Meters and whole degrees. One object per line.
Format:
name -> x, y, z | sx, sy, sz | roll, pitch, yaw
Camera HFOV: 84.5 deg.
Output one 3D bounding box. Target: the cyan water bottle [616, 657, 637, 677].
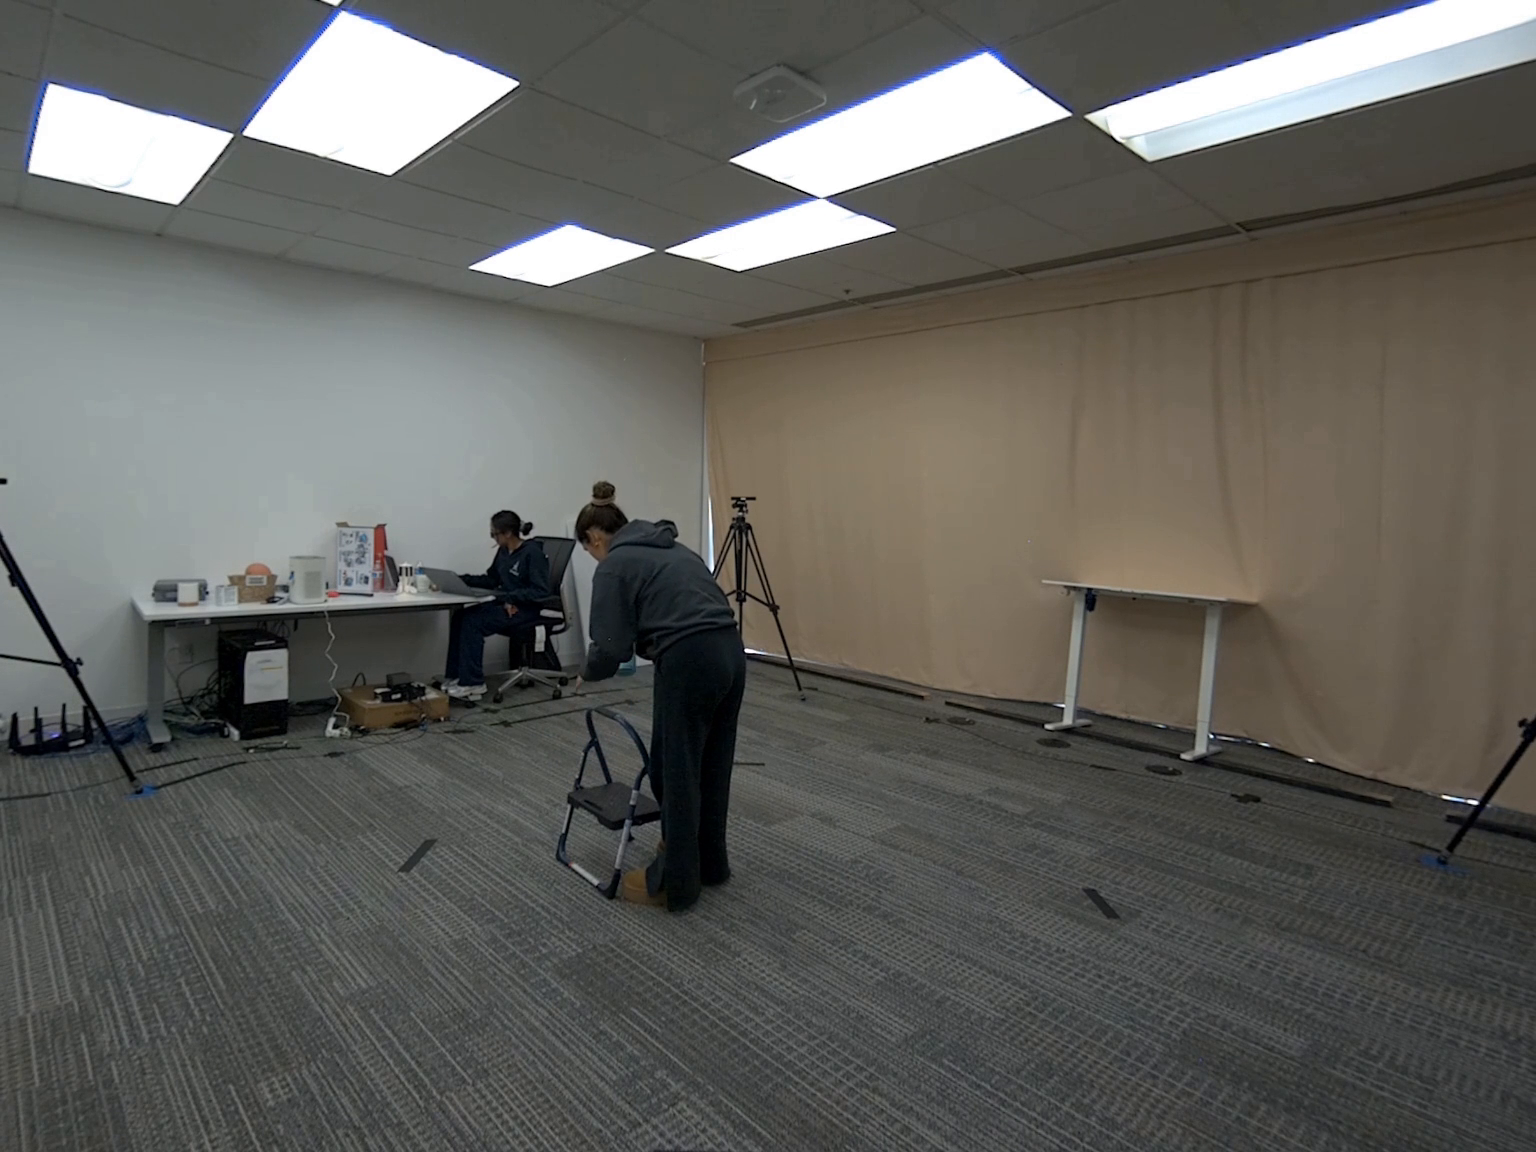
cyan water bottle -> -0.557, 0.256, 3.231 | 0.092, 0.289, 0.090 | 1, -30, -1
